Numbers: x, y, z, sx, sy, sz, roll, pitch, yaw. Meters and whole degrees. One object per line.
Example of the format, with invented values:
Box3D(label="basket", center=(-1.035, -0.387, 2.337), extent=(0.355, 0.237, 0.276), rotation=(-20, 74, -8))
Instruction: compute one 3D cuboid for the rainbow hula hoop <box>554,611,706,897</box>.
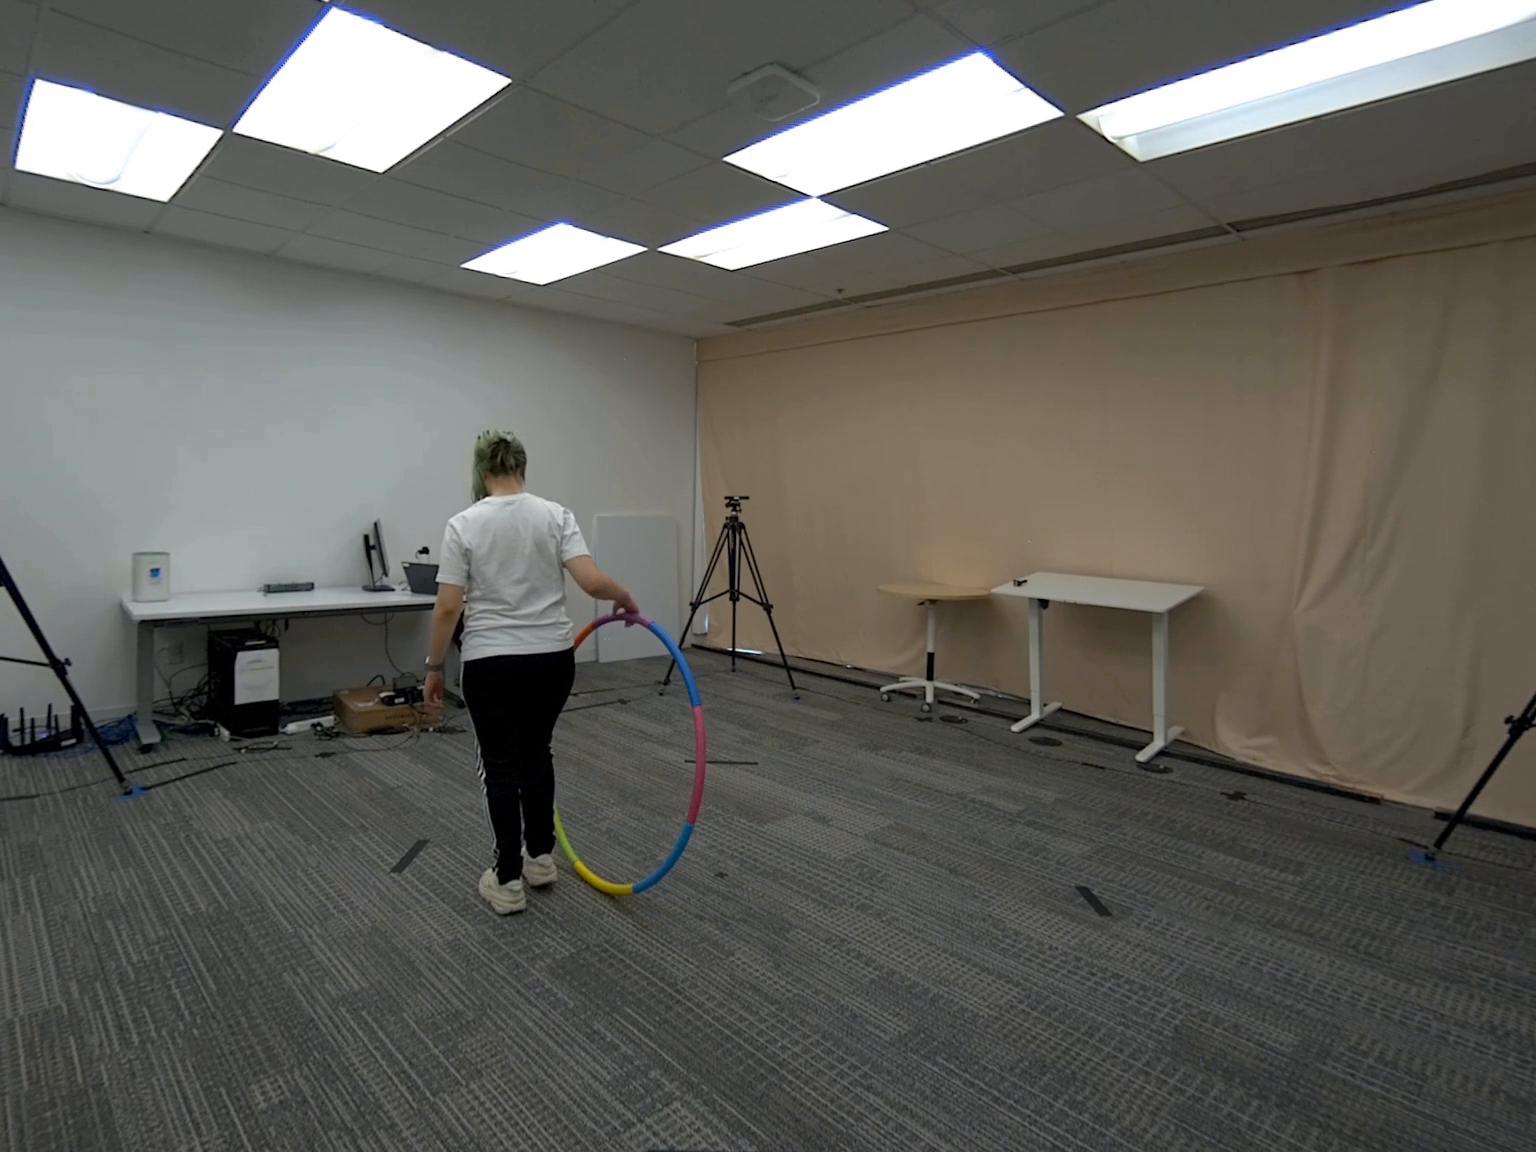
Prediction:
Box3D(label="rainbow hula hoop", center=(-0.561, 0.618, 3.013), extent=(0.034, 0.980, 1.004), rotation=(9, -2, -42))
